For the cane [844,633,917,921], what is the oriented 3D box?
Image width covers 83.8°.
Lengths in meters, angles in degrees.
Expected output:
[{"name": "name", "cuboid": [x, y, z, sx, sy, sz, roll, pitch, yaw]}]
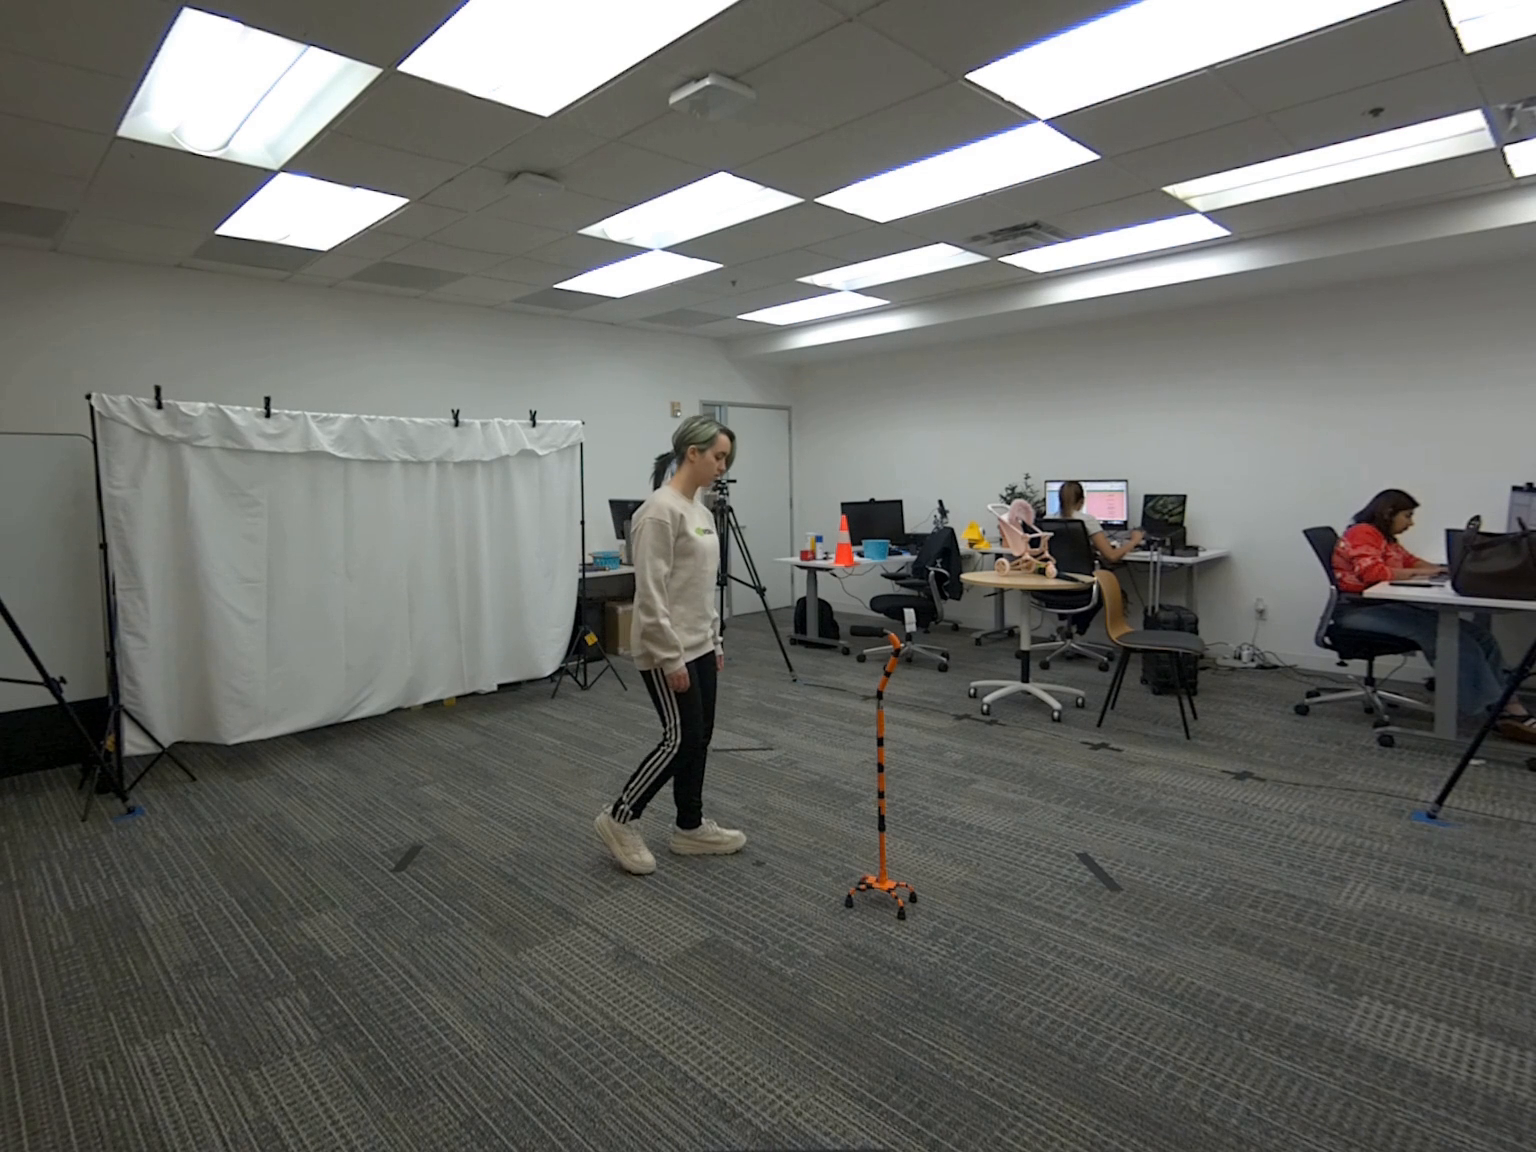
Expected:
[{"name": "cane", "cuboid": [0.373, 0.623, 2.772, 0.211, 0.905, 0.148, 2, 4, 27]}]
